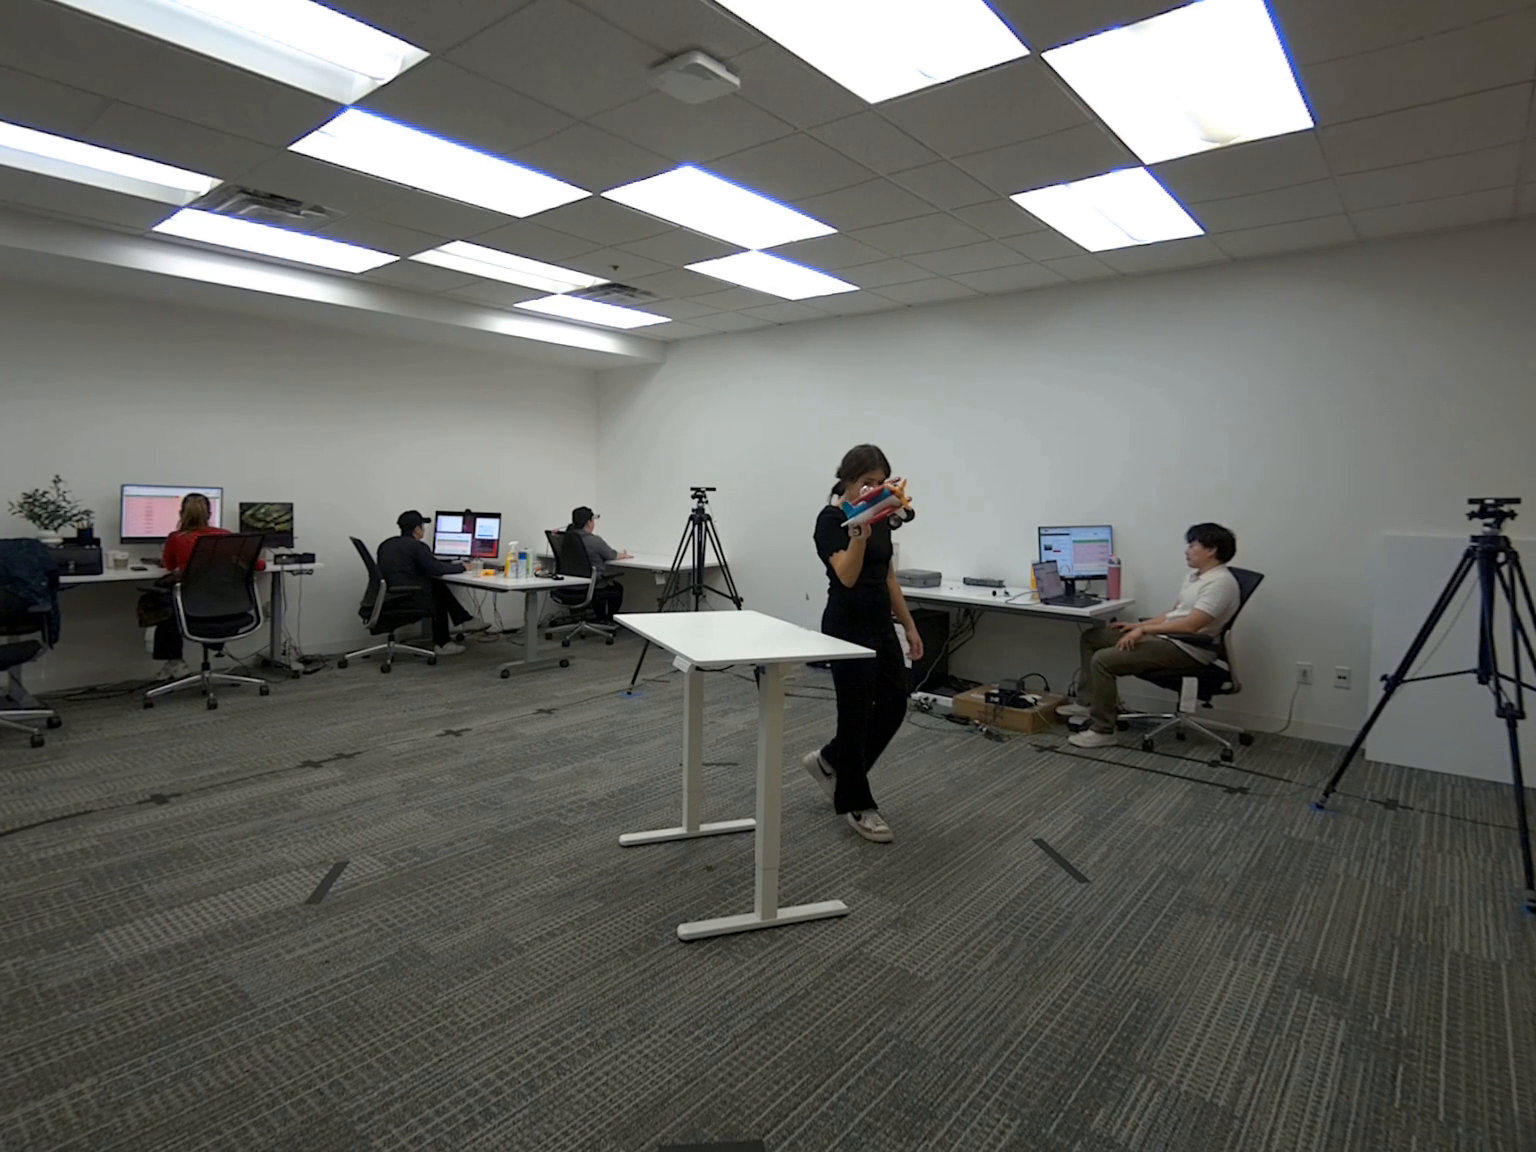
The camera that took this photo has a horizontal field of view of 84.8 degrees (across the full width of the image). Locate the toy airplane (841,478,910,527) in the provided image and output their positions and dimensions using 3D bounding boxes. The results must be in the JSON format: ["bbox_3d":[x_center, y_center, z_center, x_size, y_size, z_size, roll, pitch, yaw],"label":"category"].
[{"bbox_3d":[0.355,-0.229,2.934,0.262,0.155,0.250,-16,9,17],"label":"toy airplane"}]
